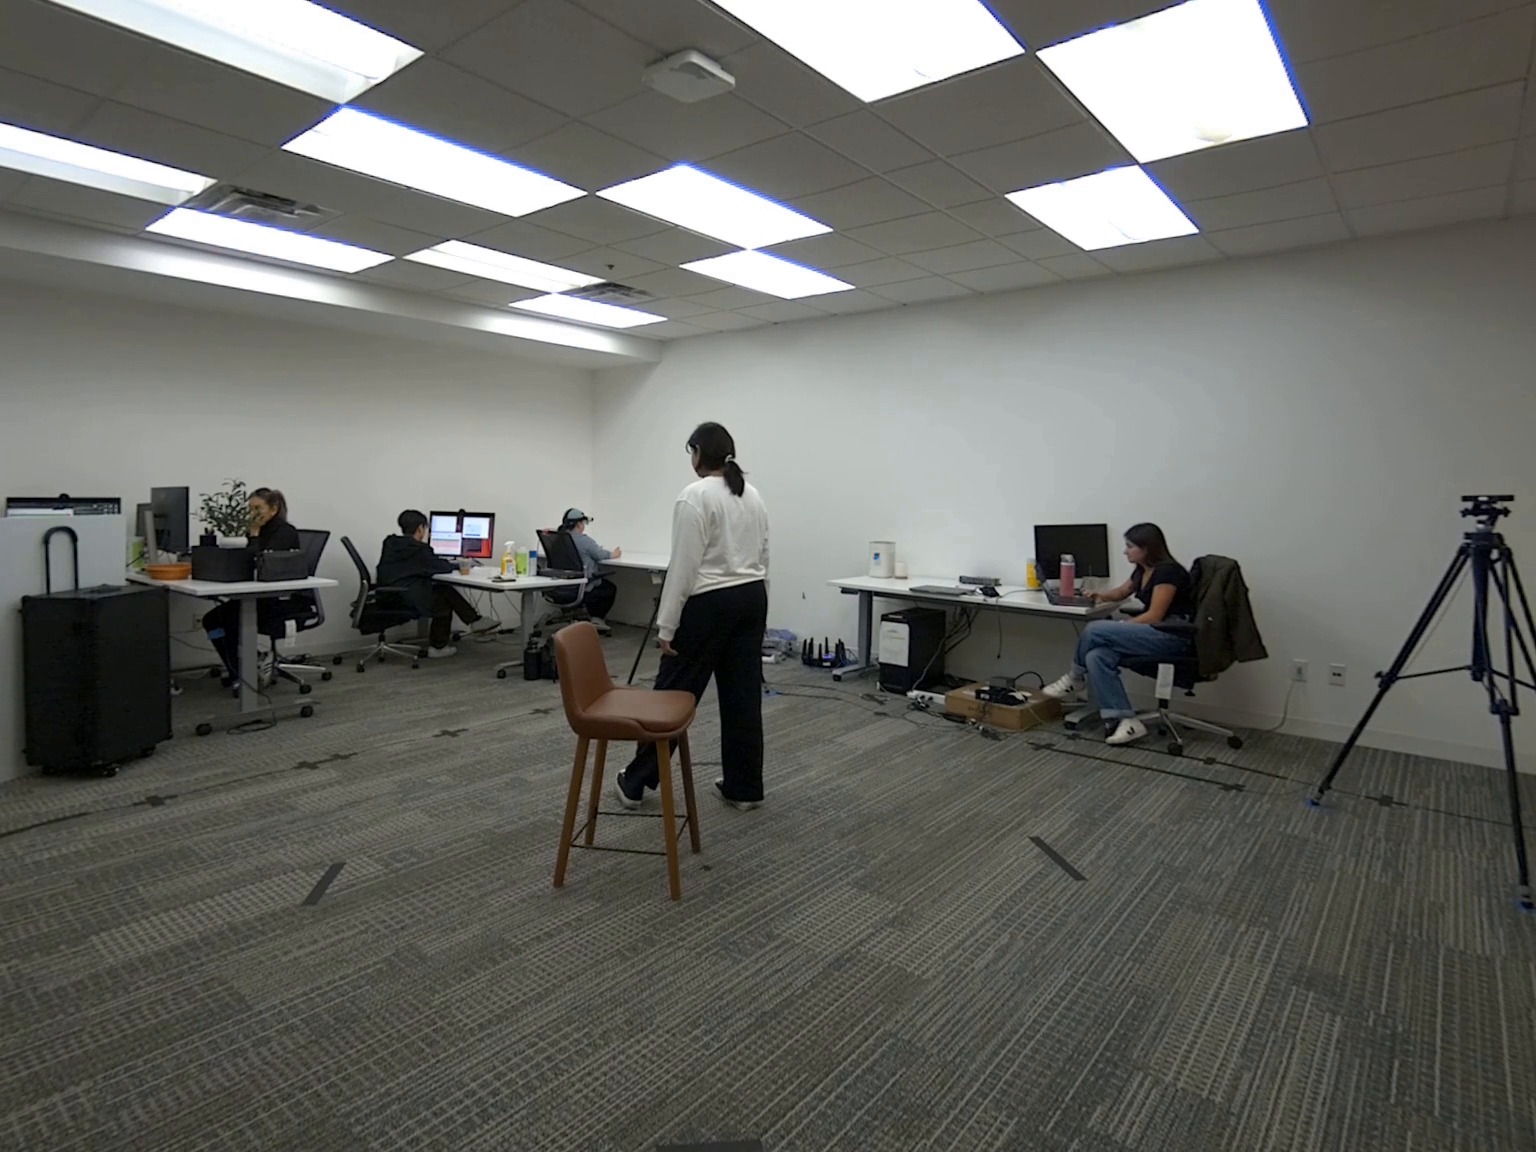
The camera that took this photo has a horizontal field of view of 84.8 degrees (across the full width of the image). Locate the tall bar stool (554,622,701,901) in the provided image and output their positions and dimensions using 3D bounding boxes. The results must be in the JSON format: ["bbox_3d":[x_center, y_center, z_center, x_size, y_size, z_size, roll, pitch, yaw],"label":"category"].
[{"bbox_3d":[-0.504,0.633,3.066,0.472,0.887,0.453,0,3,9],"label":"tall bar stool"}]
